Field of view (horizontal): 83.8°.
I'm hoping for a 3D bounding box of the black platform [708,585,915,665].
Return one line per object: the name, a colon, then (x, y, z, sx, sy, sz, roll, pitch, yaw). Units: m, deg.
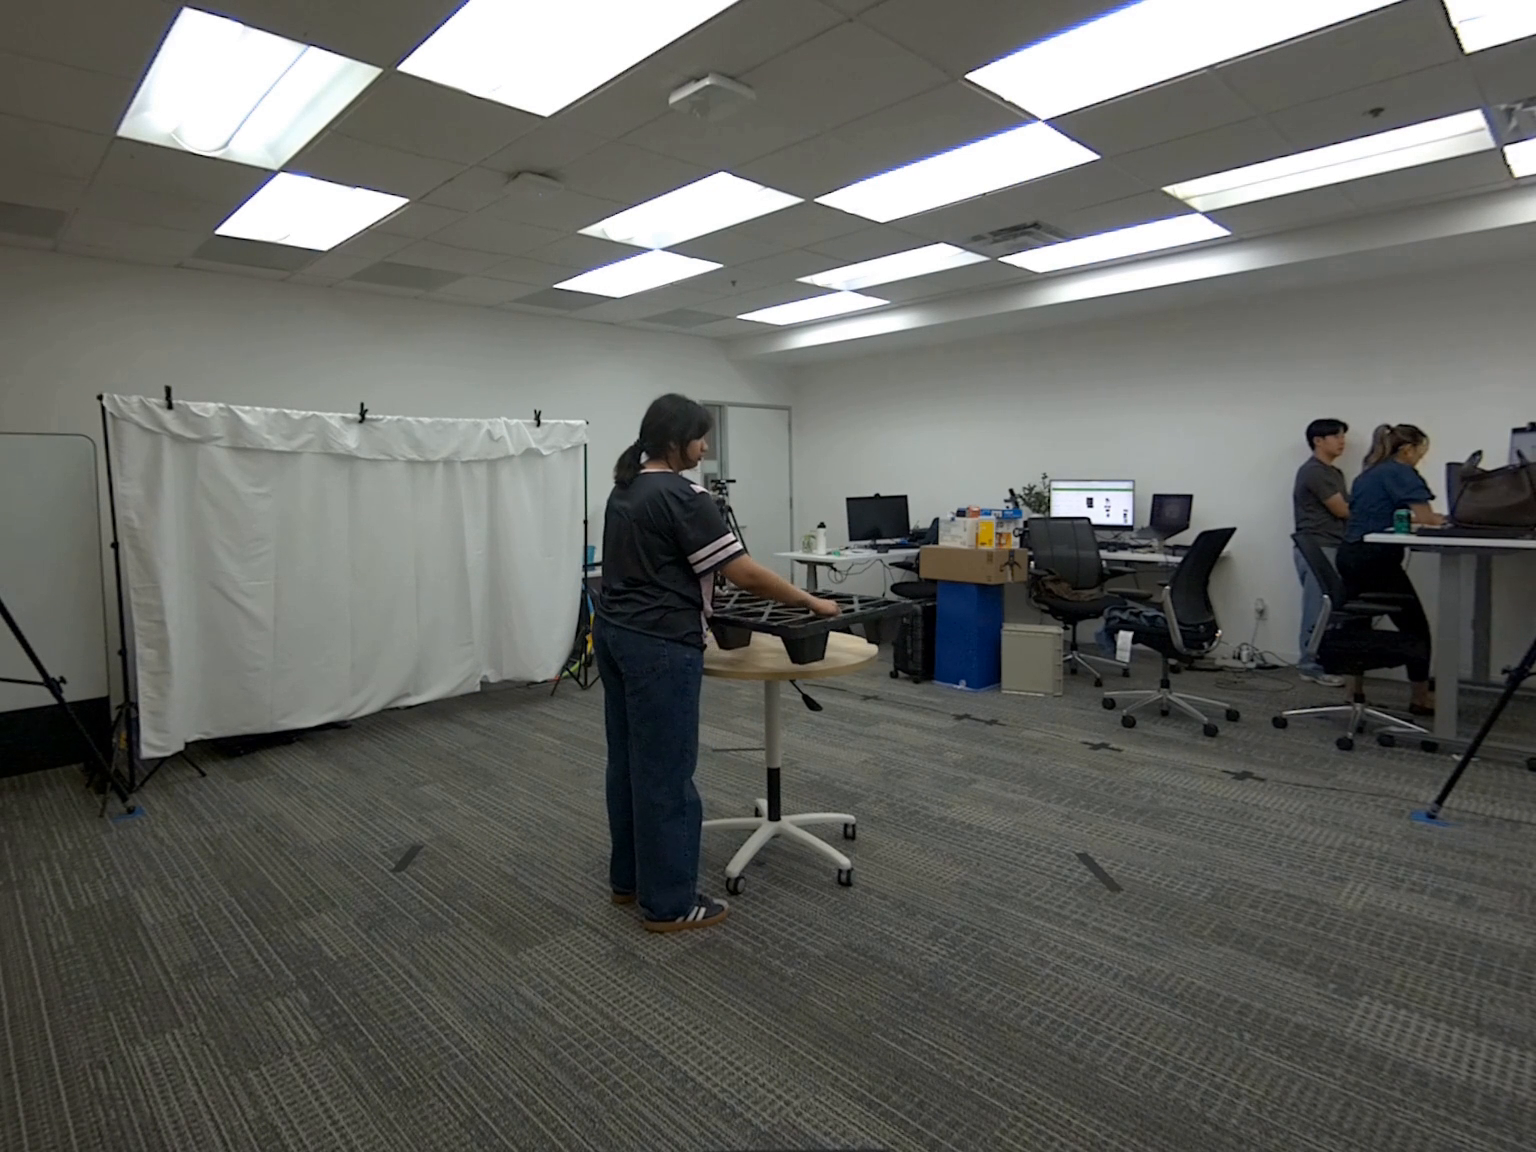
black platform: (0.019, 0.154, 3.022, 0.590, 0.142, 0.830, -10, 10, -42)
